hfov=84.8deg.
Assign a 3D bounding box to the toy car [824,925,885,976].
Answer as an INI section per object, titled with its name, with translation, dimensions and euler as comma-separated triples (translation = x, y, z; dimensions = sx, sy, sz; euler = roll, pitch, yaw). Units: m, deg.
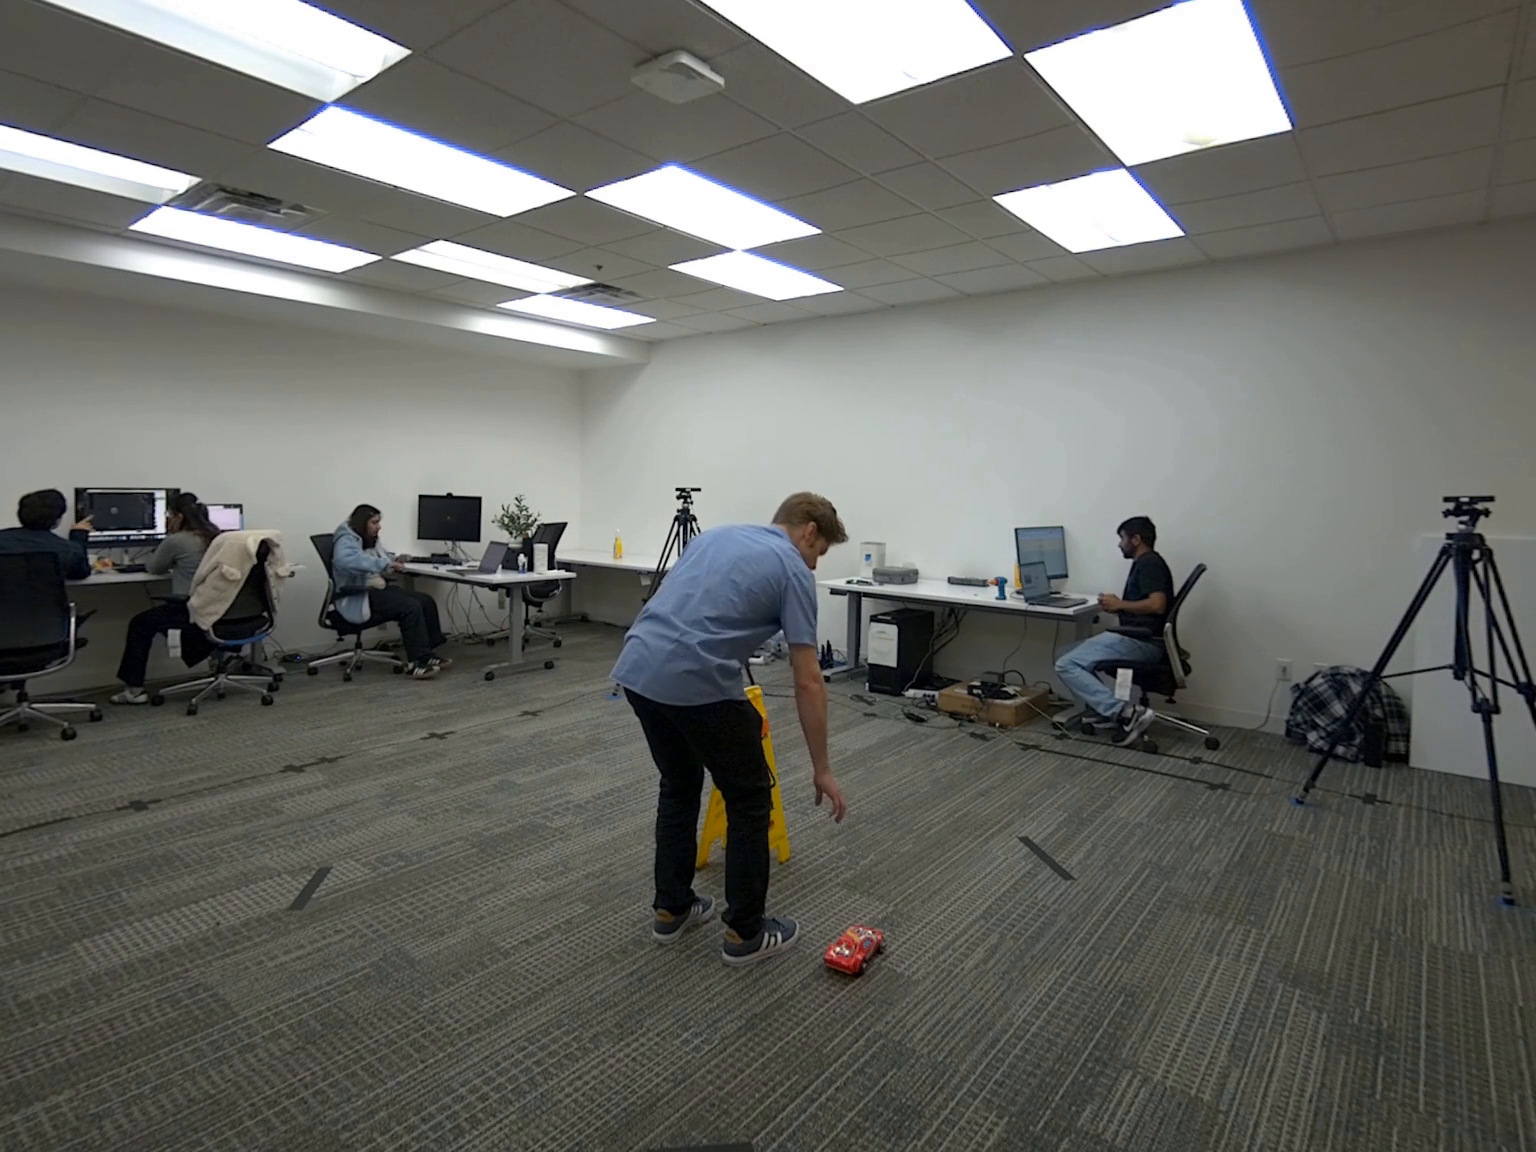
[toy car]
translation = 0.248, 1.109, 2.512
dimensions = 0.134, 0.083, 0.246
euler = 4, -5, 32
